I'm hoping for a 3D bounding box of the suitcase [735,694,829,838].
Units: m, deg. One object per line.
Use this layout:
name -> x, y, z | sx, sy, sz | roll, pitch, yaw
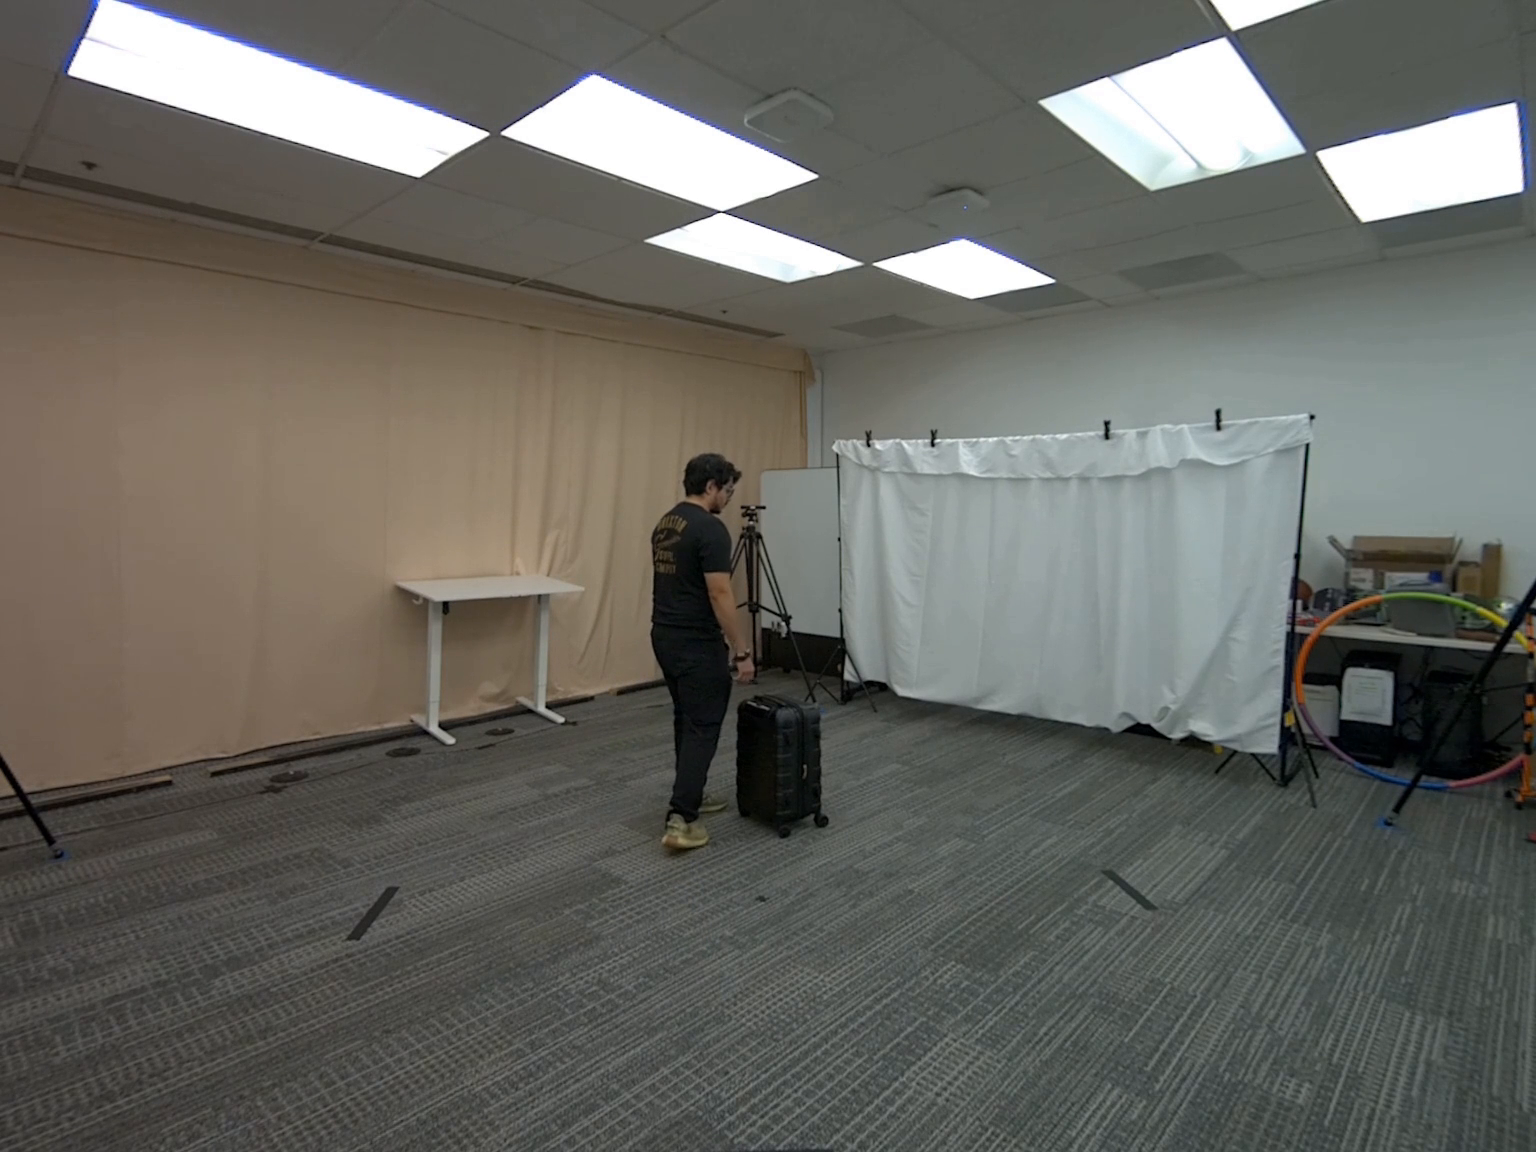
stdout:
suitcase -> 0.048, 0.807, 3.718 | 0.241, 0.548, 0.387 | -3, 3, -35
